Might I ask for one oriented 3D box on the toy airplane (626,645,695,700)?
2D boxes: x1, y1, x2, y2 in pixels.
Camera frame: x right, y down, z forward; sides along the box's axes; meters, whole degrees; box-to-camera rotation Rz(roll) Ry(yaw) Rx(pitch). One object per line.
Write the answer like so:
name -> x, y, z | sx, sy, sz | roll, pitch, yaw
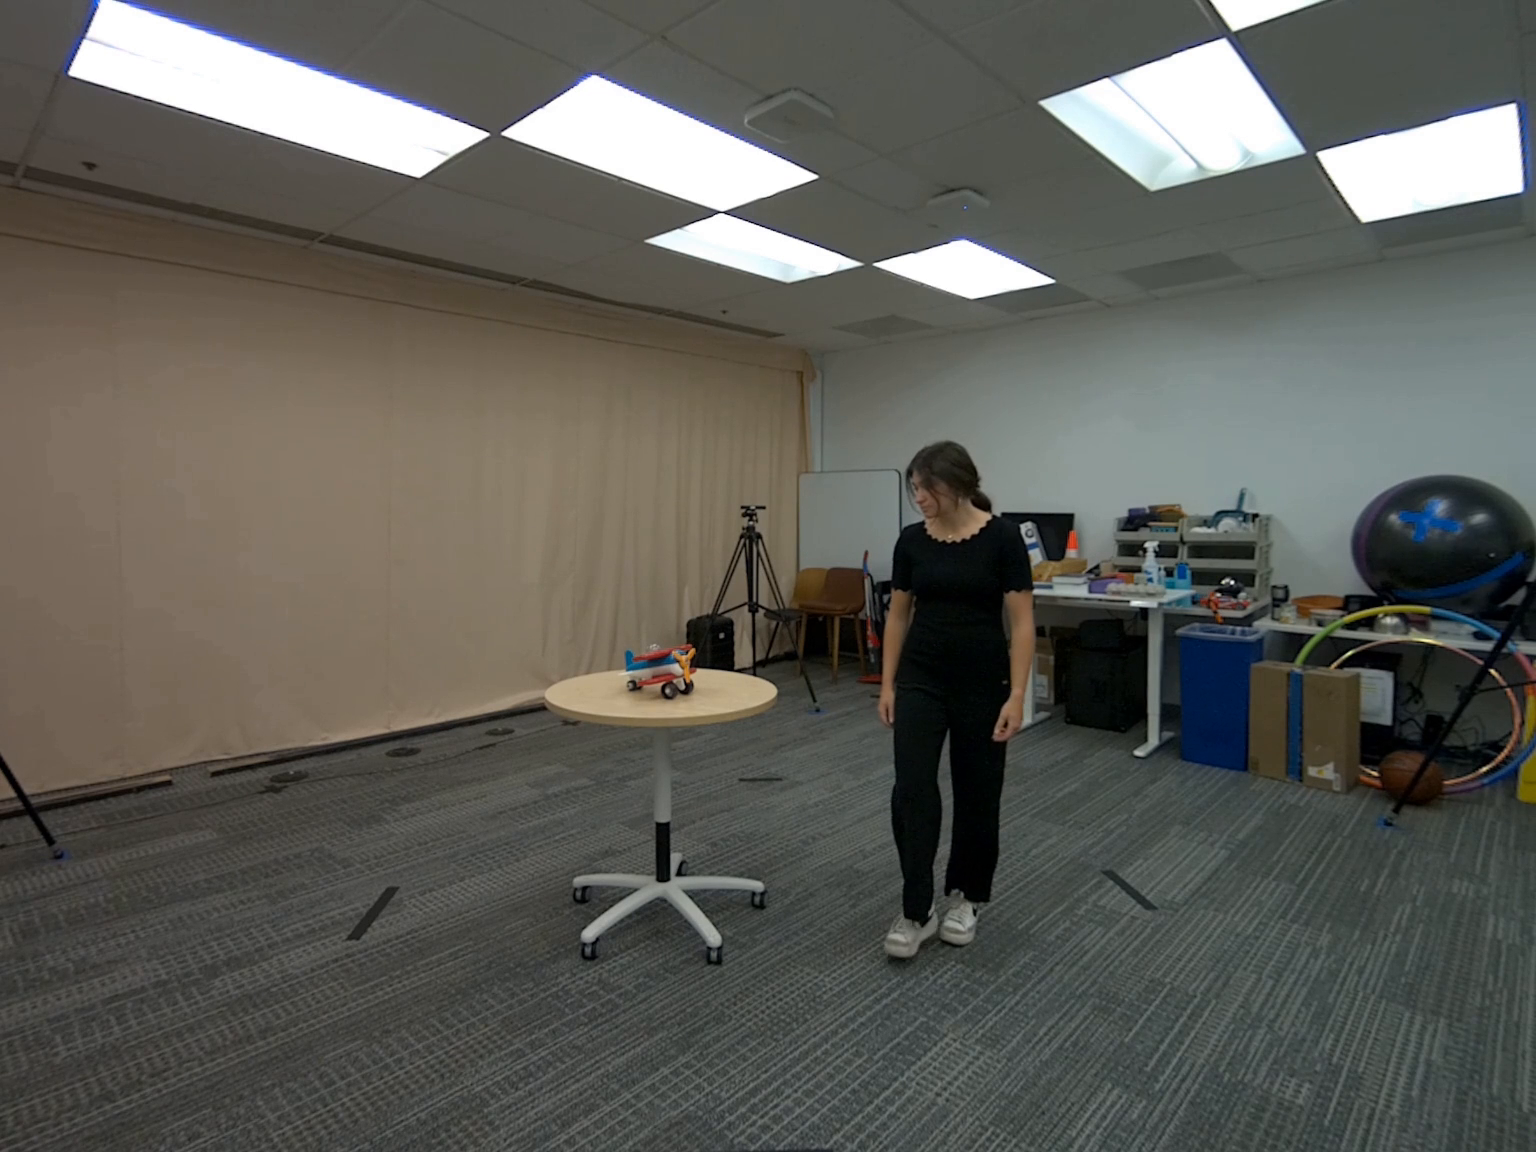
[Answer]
toy airplane -> -0.363, 0.308, 2.714 | 0.260, 0.156, 0.250 | 1, 4, 4
